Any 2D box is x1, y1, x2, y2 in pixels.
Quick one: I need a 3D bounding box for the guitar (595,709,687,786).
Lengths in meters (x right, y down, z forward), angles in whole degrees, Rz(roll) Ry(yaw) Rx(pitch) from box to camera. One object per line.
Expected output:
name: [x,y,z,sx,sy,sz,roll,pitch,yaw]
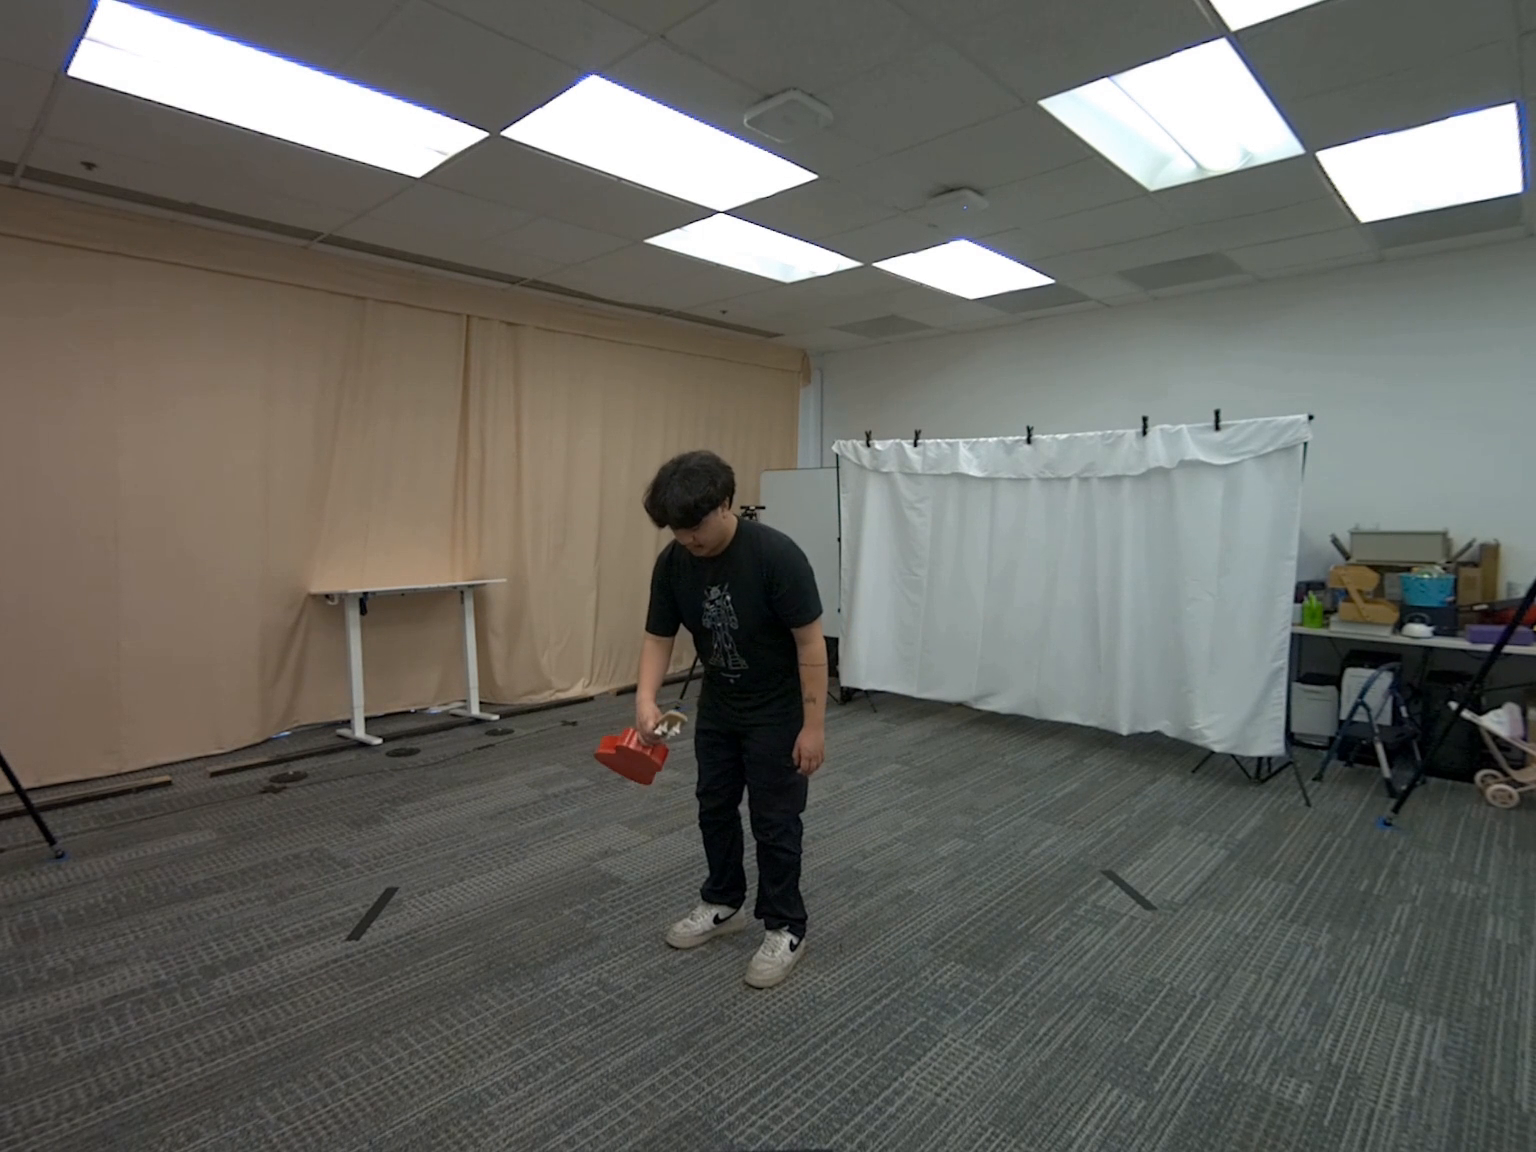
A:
guitar: [-0.360,0.471,2.363,0.193,0.071,0.496,27,-33,-1]
